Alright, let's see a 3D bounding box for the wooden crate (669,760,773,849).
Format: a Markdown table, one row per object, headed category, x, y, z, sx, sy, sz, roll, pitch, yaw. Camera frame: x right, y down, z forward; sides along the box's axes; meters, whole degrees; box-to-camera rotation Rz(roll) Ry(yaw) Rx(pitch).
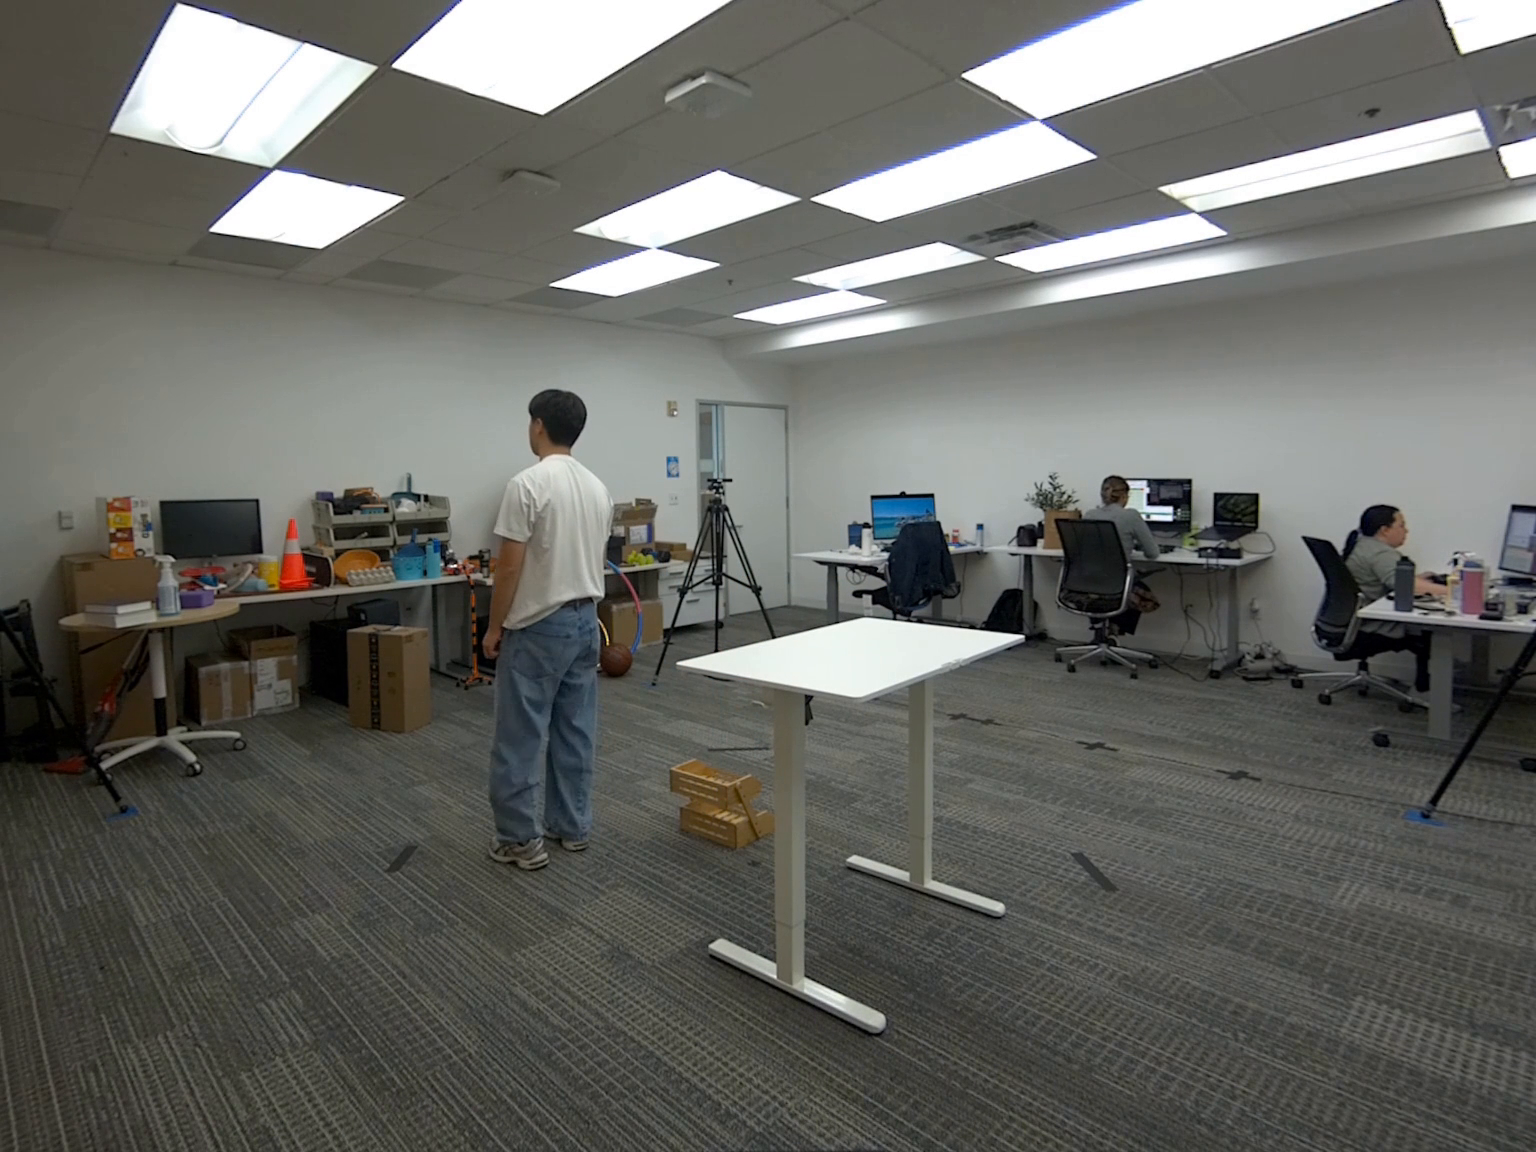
| category | x | y | z | sx | sy | sz | roll | pitch | yaw |
| --- | --- | --- | --- | --- | --- | --- | --- | --- | --- |
| wooden crate | -0.175 | 0.877 | 3.388 | 0.334 | 0.272 | 0.294 | 3 | 7 | 39 |
